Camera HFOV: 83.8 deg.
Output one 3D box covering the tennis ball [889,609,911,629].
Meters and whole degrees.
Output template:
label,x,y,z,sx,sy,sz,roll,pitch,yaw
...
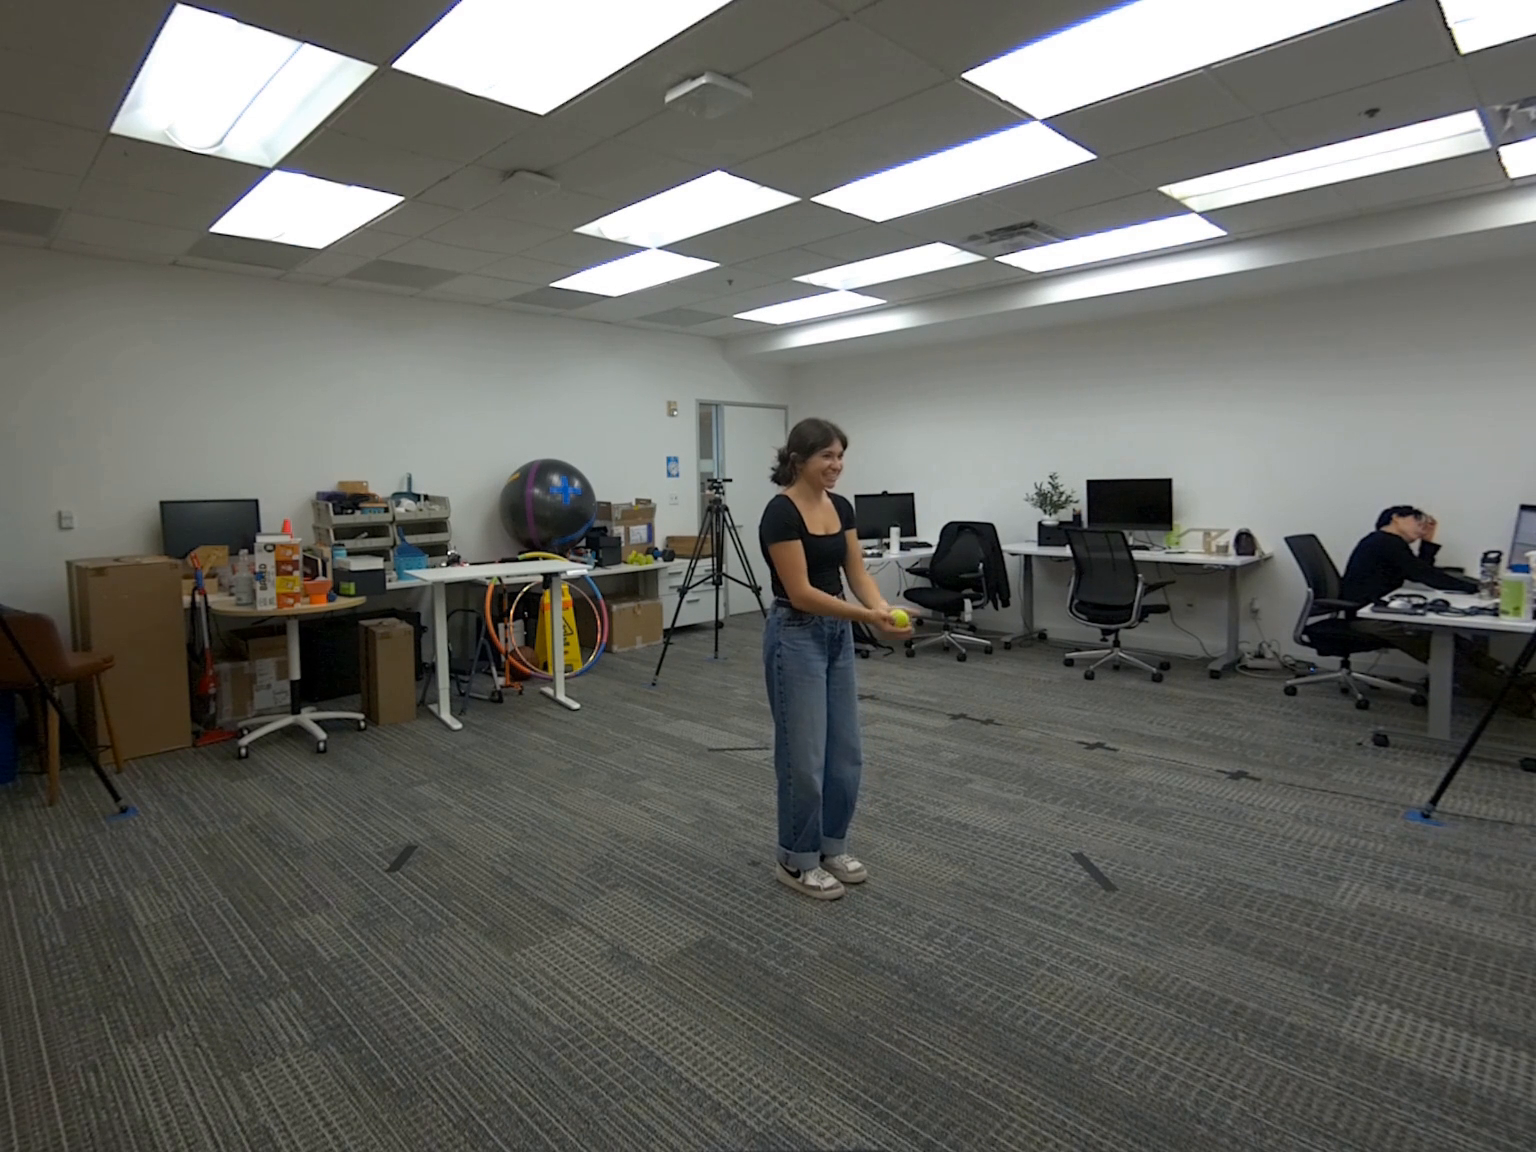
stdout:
label,x,y,z,sx,sy,sz,roll,pitch,yaw
tennis ball,0.405,0.112,2.666,0.066,0.066,0.067,-1,5,-2
